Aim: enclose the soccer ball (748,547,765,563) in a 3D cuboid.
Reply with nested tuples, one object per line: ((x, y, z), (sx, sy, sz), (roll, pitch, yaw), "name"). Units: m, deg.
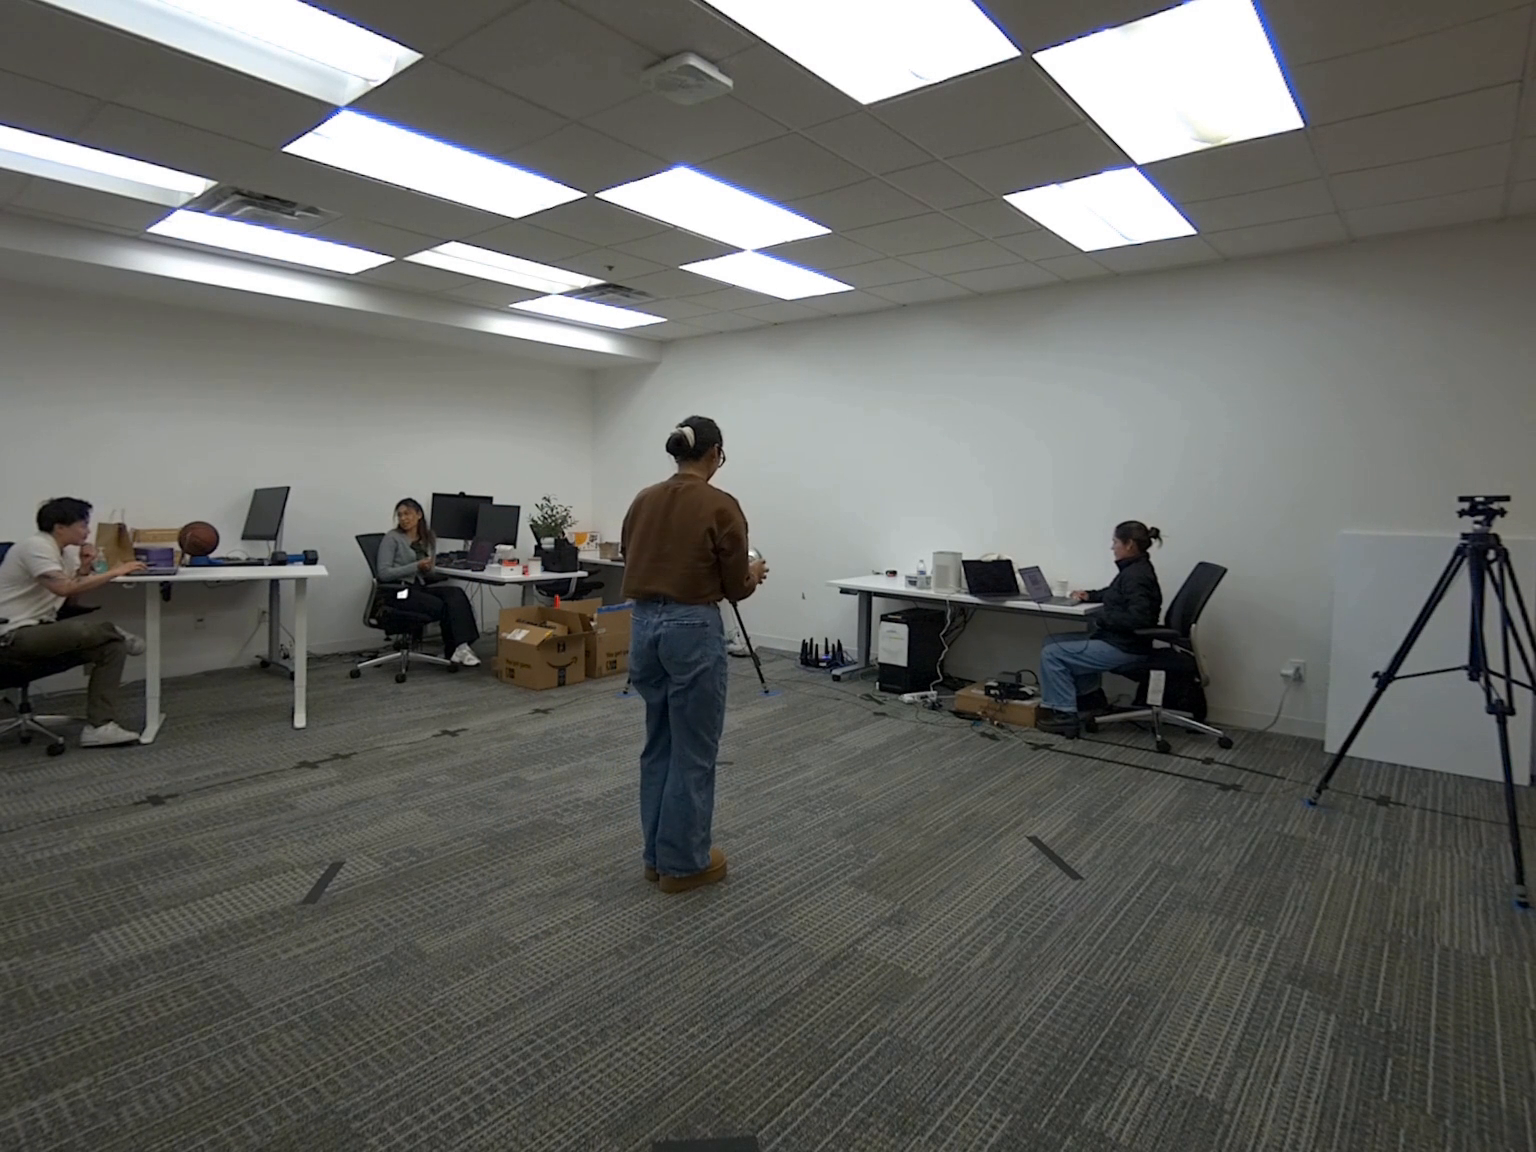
((-0.114, -0.026, 3.255), (0.187, 0.187, 0.188), (1, 4, -2), "soccer ball")
